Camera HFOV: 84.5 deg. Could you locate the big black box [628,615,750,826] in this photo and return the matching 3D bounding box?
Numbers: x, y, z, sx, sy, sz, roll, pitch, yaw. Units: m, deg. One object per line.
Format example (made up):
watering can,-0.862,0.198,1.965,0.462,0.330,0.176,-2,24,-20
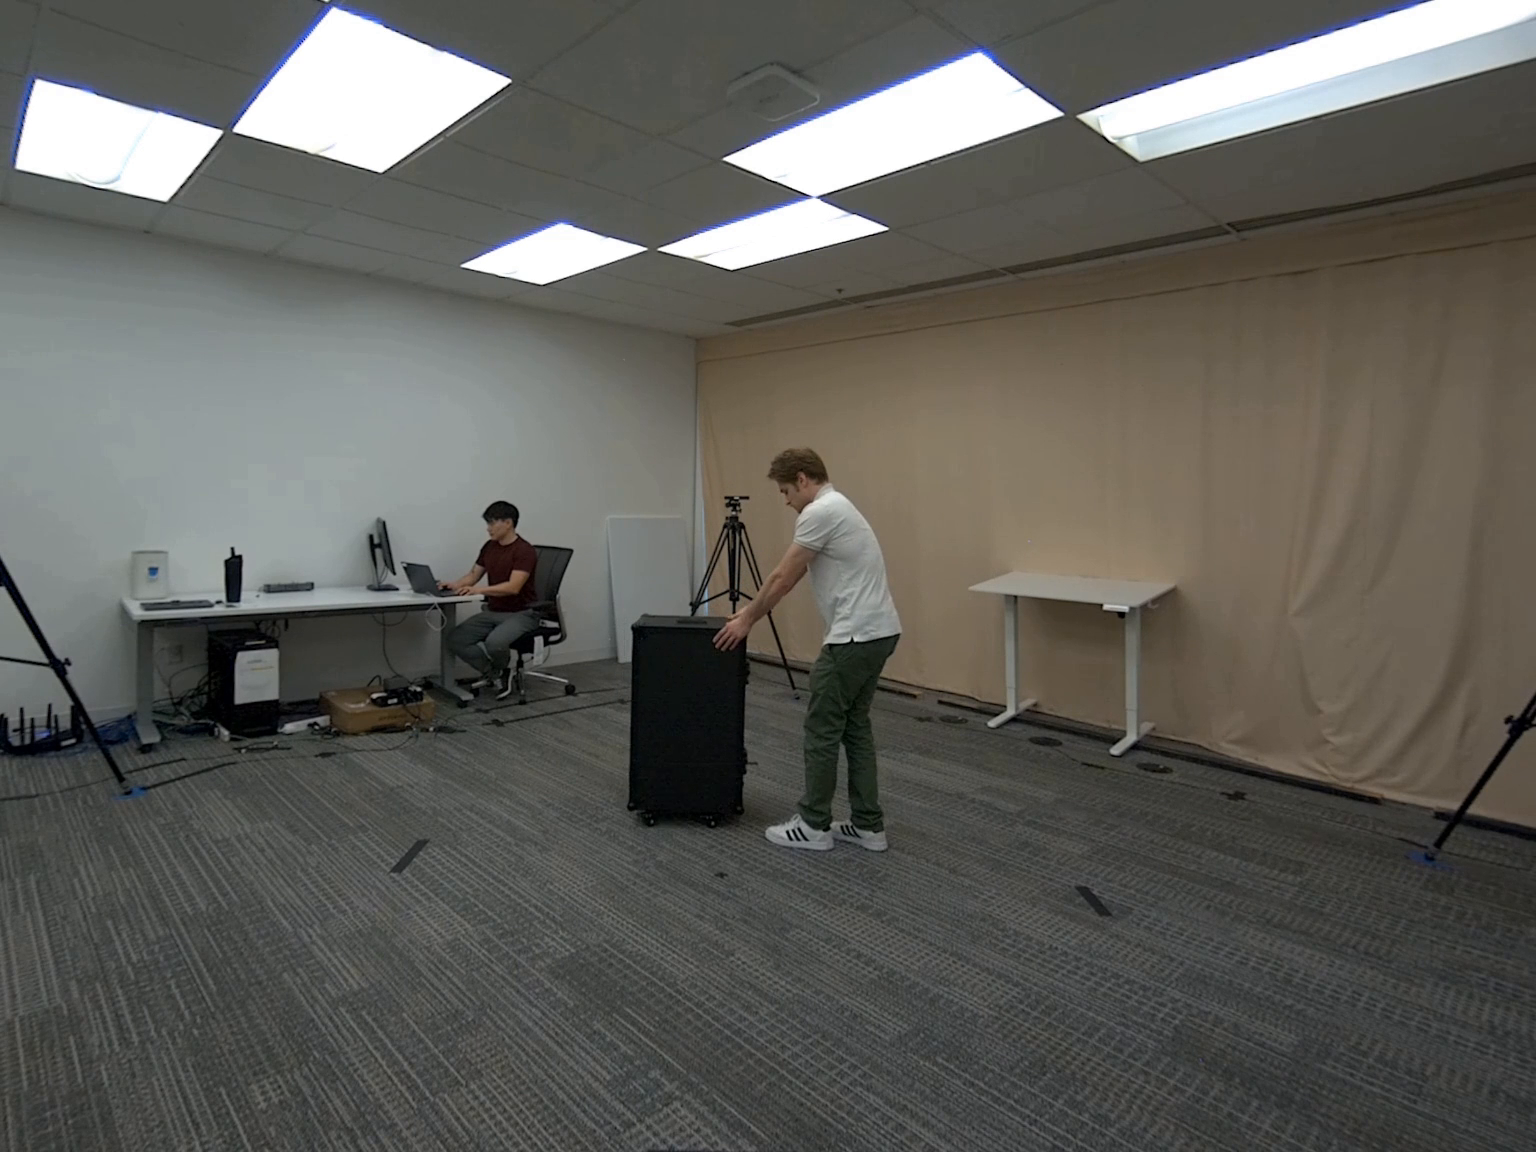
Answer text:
big black box,-0.353,0.625,3.691,0.523,0.867,0.386,2,3,-1
